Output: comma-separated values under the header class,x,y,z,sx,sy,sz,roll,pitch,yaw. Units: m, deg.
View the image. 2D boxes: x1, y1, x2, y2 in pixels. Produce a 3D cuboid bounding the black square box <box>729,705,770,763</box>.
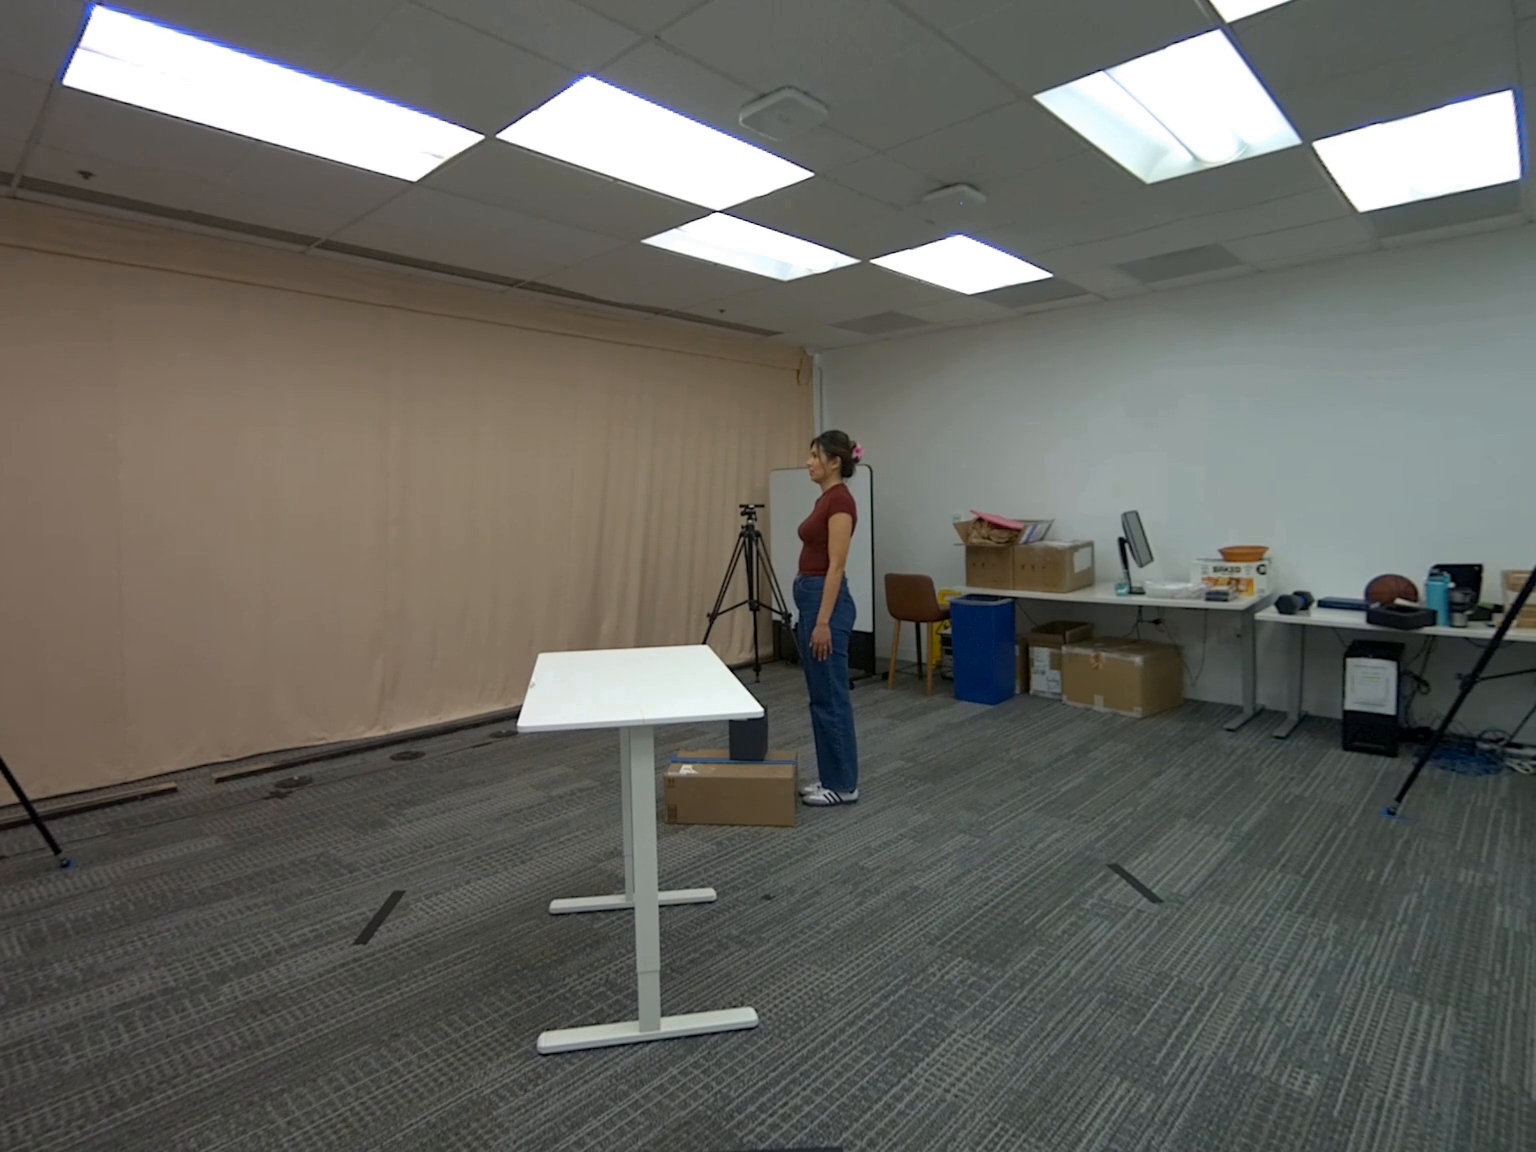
class,x,y,z,sx,sy,sz,roll,pitch,yaw
black square box,-0.086,0.732,3.966,0.157,0.217,0.226,-2,0,8
